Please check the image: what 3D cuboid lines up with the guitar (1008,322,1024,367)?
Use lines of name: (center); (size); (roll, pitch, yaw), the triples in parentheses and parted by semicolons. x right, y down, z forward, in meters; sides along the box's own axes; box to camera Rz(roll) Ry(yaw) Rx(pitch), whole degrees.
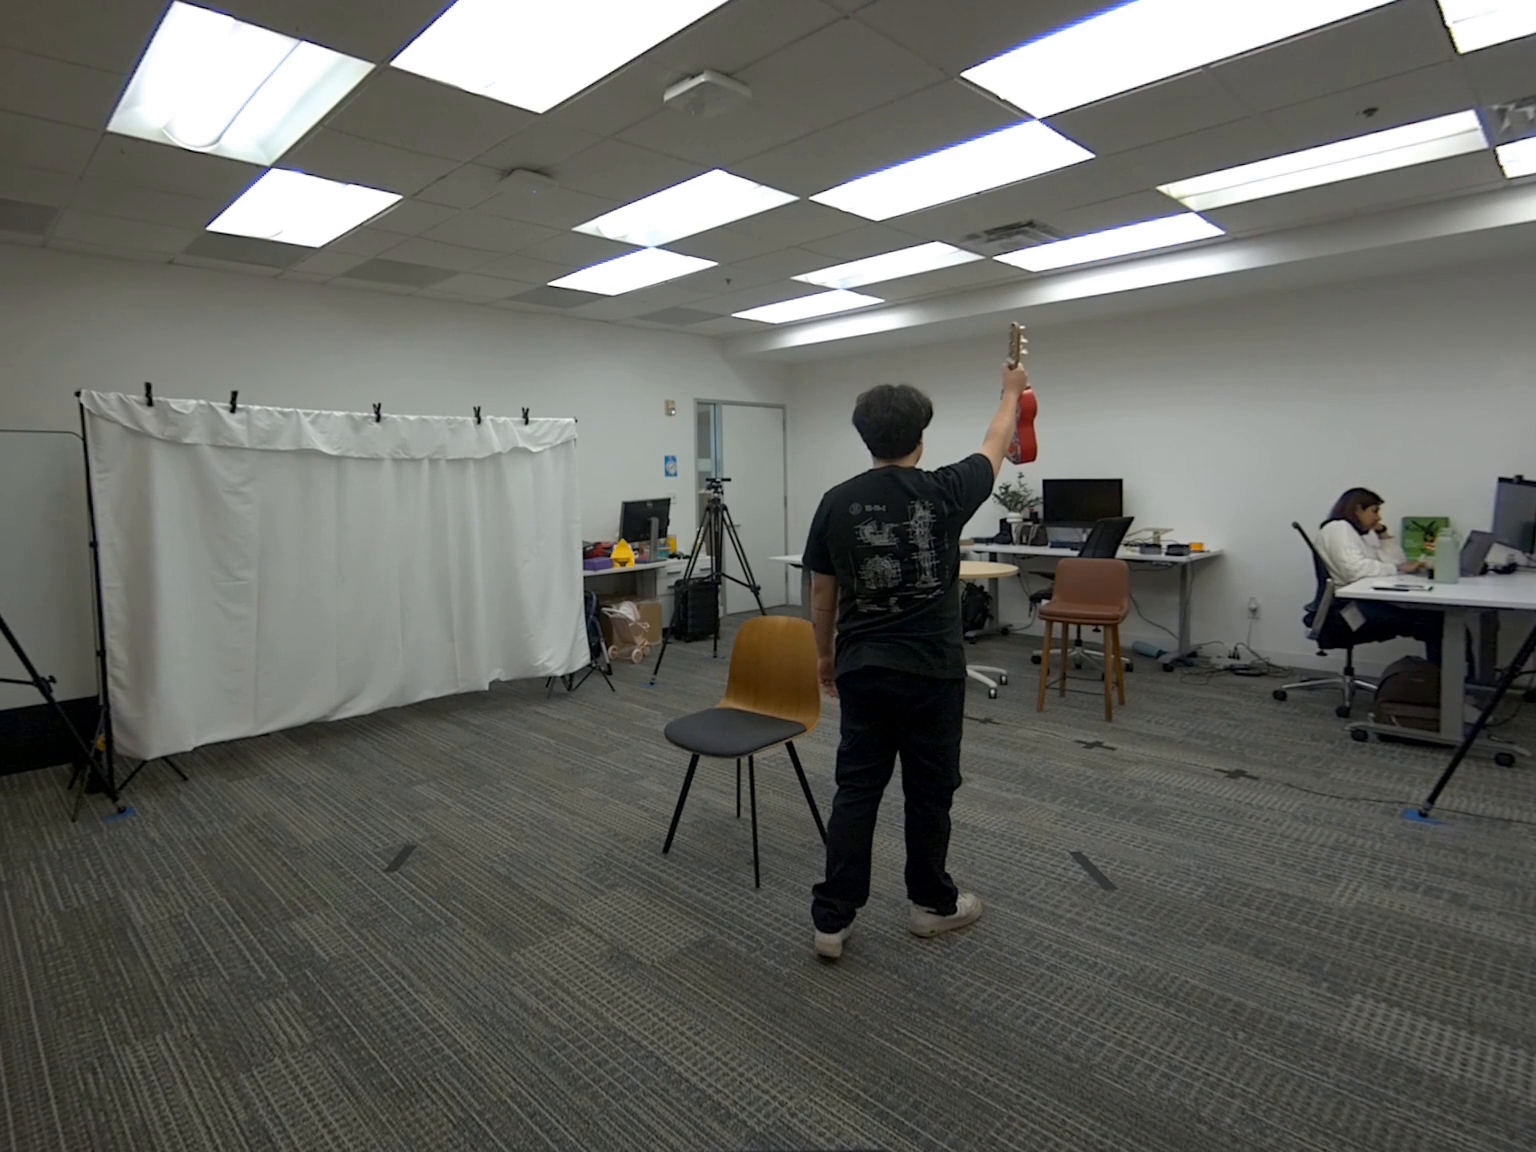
guitar: (0.844, -0.588, 2.830); (0.070, 0.482, 0.199); (-12, 44, -4)
